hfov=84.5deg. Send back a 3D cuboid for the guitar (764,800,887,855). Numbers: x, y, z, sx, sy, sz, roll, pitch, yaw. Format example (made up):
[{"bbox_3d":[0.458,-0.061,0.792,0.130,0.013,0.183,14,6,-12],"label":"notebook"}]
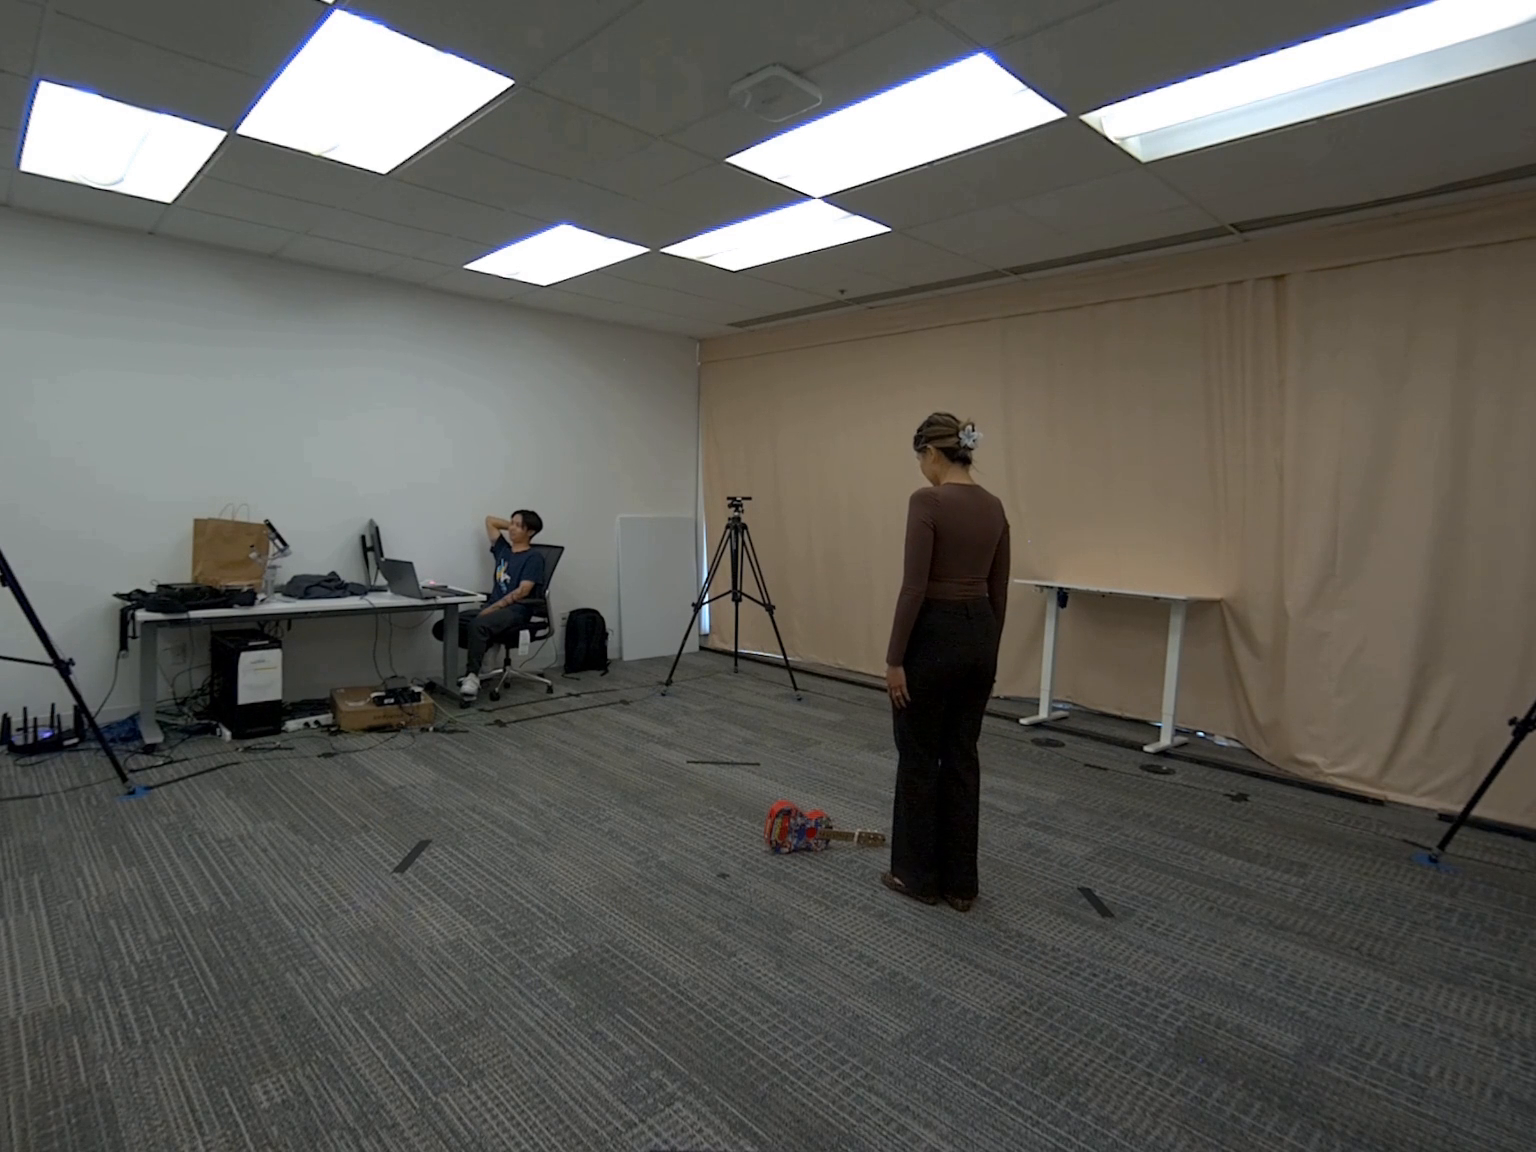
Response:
[{"bbox_3d":[0.215,1.050,3.371,0.490,0.193,0.072,20,1,-17],"label":"guitar"}]
